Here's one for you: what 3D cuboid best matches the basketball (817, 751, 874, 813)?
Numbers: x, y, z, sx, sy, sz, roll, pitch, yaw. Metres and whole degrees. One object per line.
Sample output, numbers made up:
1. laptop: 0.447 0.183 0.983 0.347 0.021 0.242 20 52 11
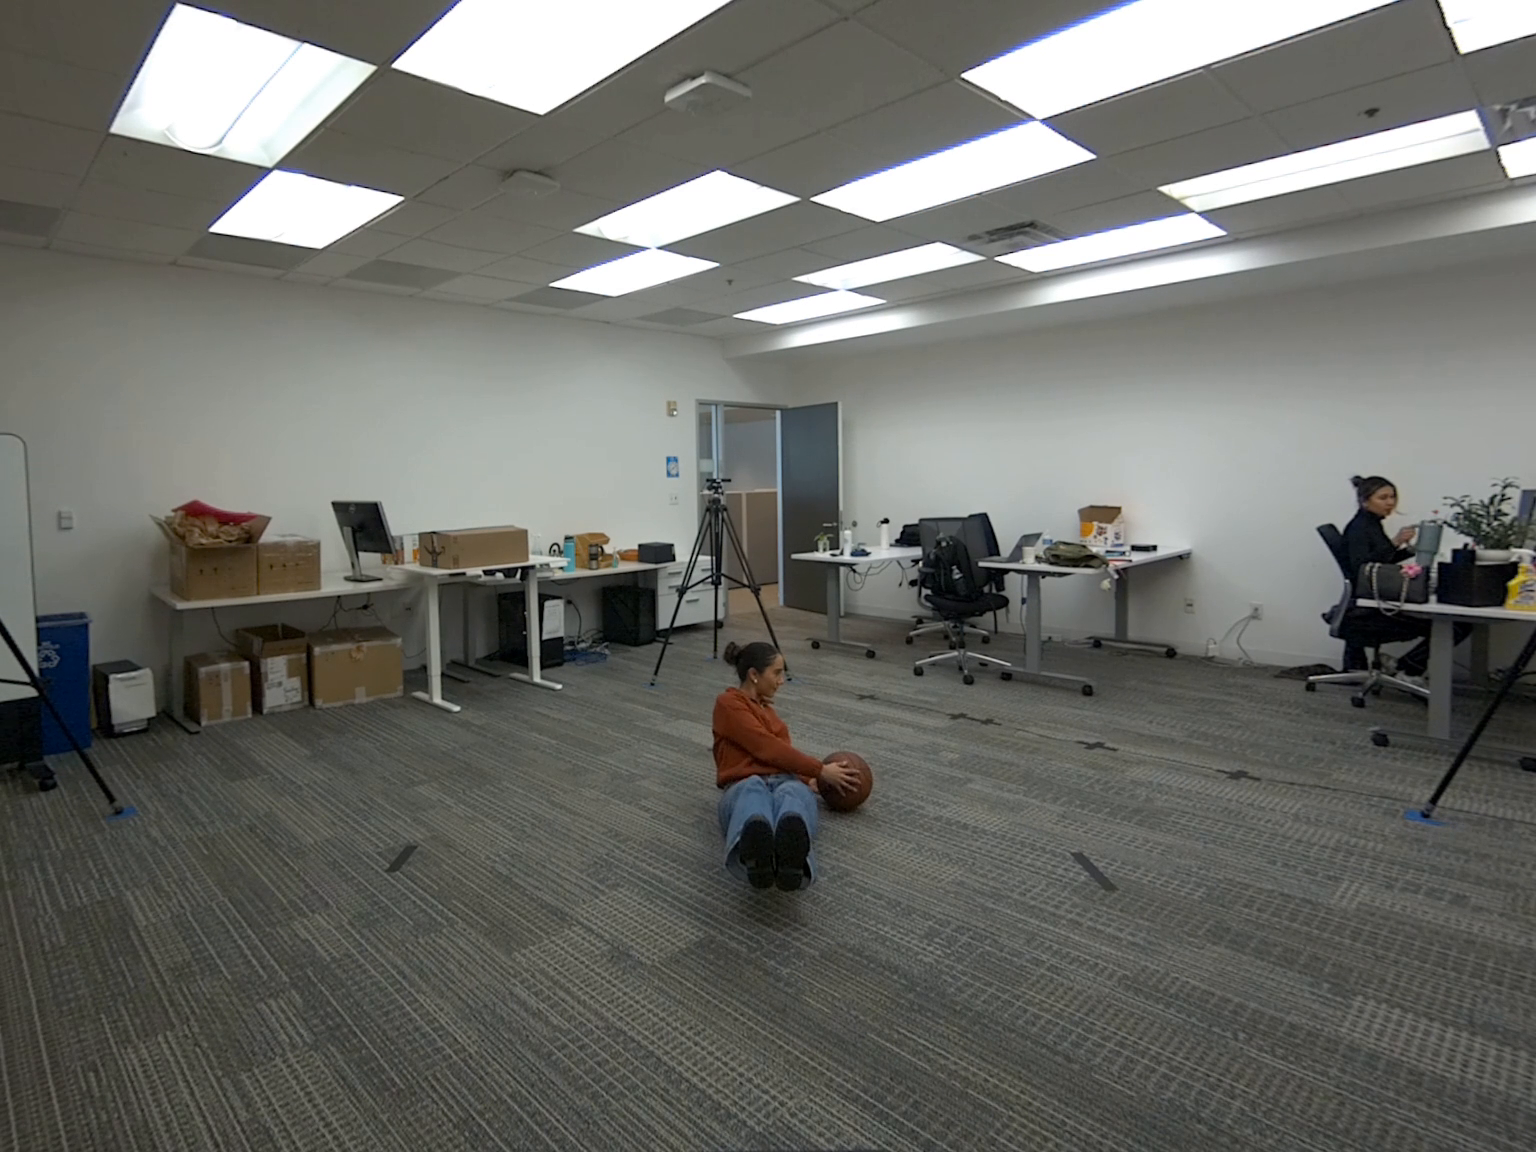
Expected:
1. basketball: 0.314 0.832 3.580 0.236 0.235 0.237 -1 5 -2
